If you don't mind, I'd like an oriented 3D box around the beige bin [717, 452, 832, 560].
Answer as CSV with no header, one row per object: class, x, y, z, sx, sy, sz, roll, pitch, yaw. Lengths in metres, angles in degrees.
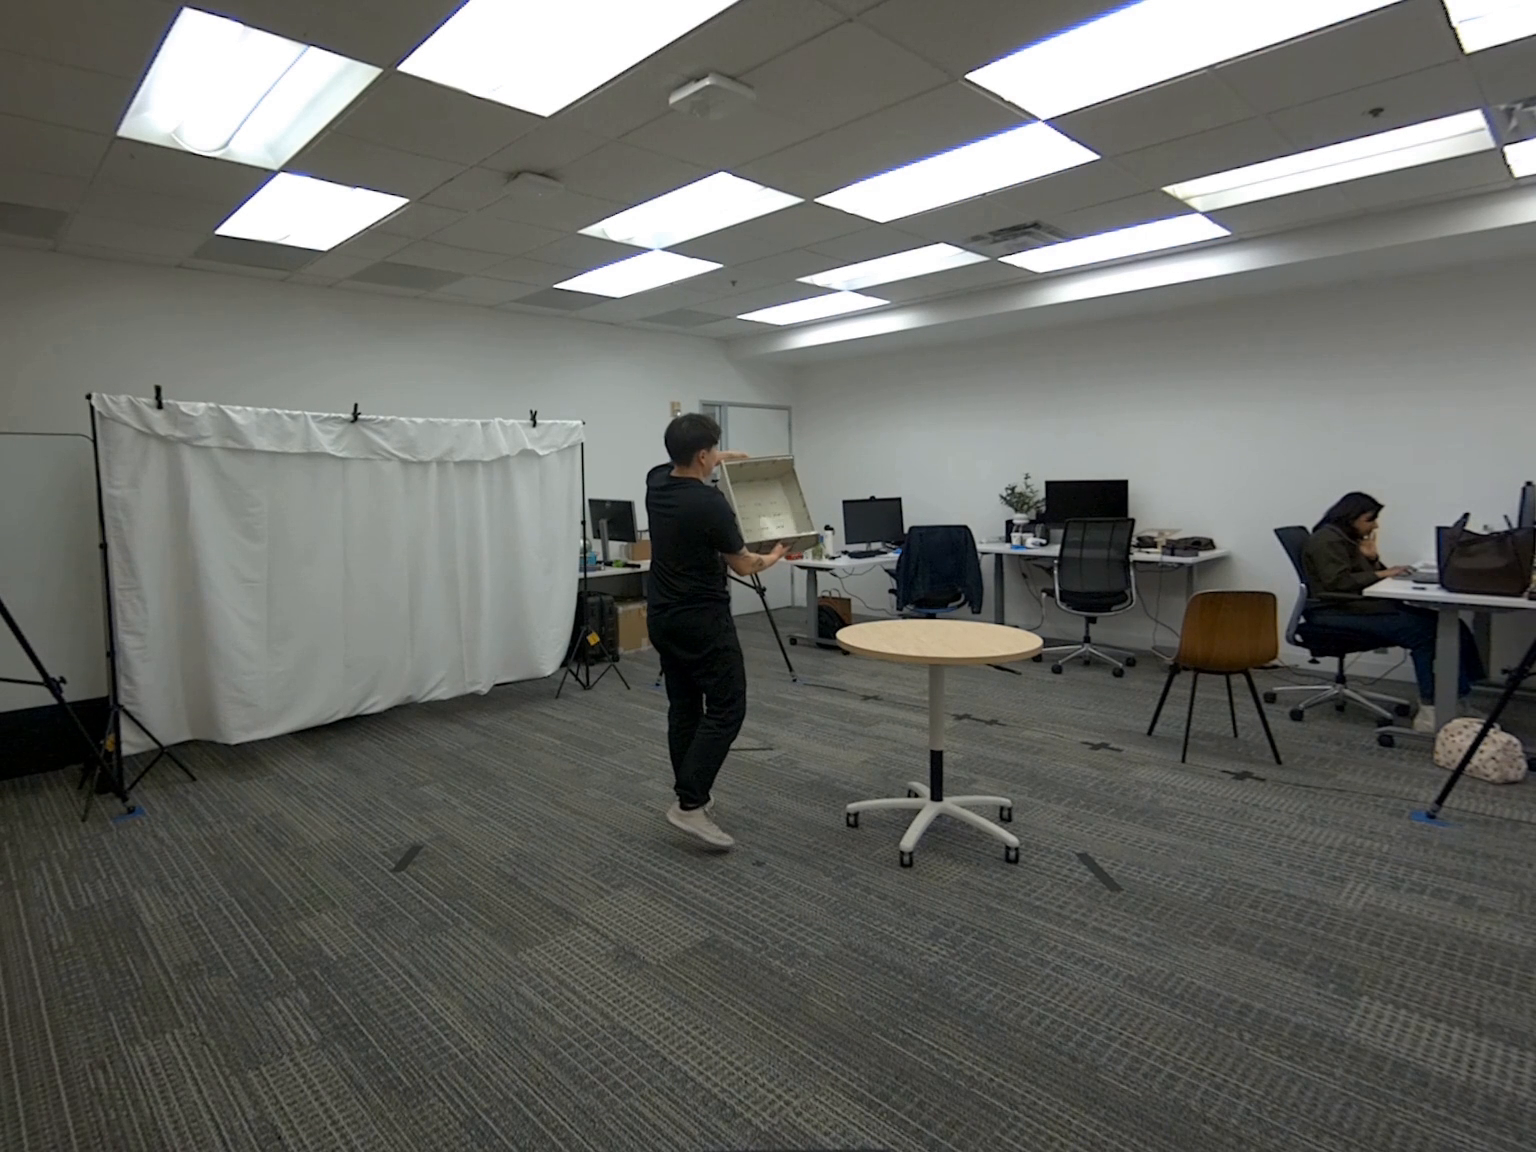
beige bin,0.019,-0.306,3.794,0.372,0.434,0.186,-7,-27,-16
